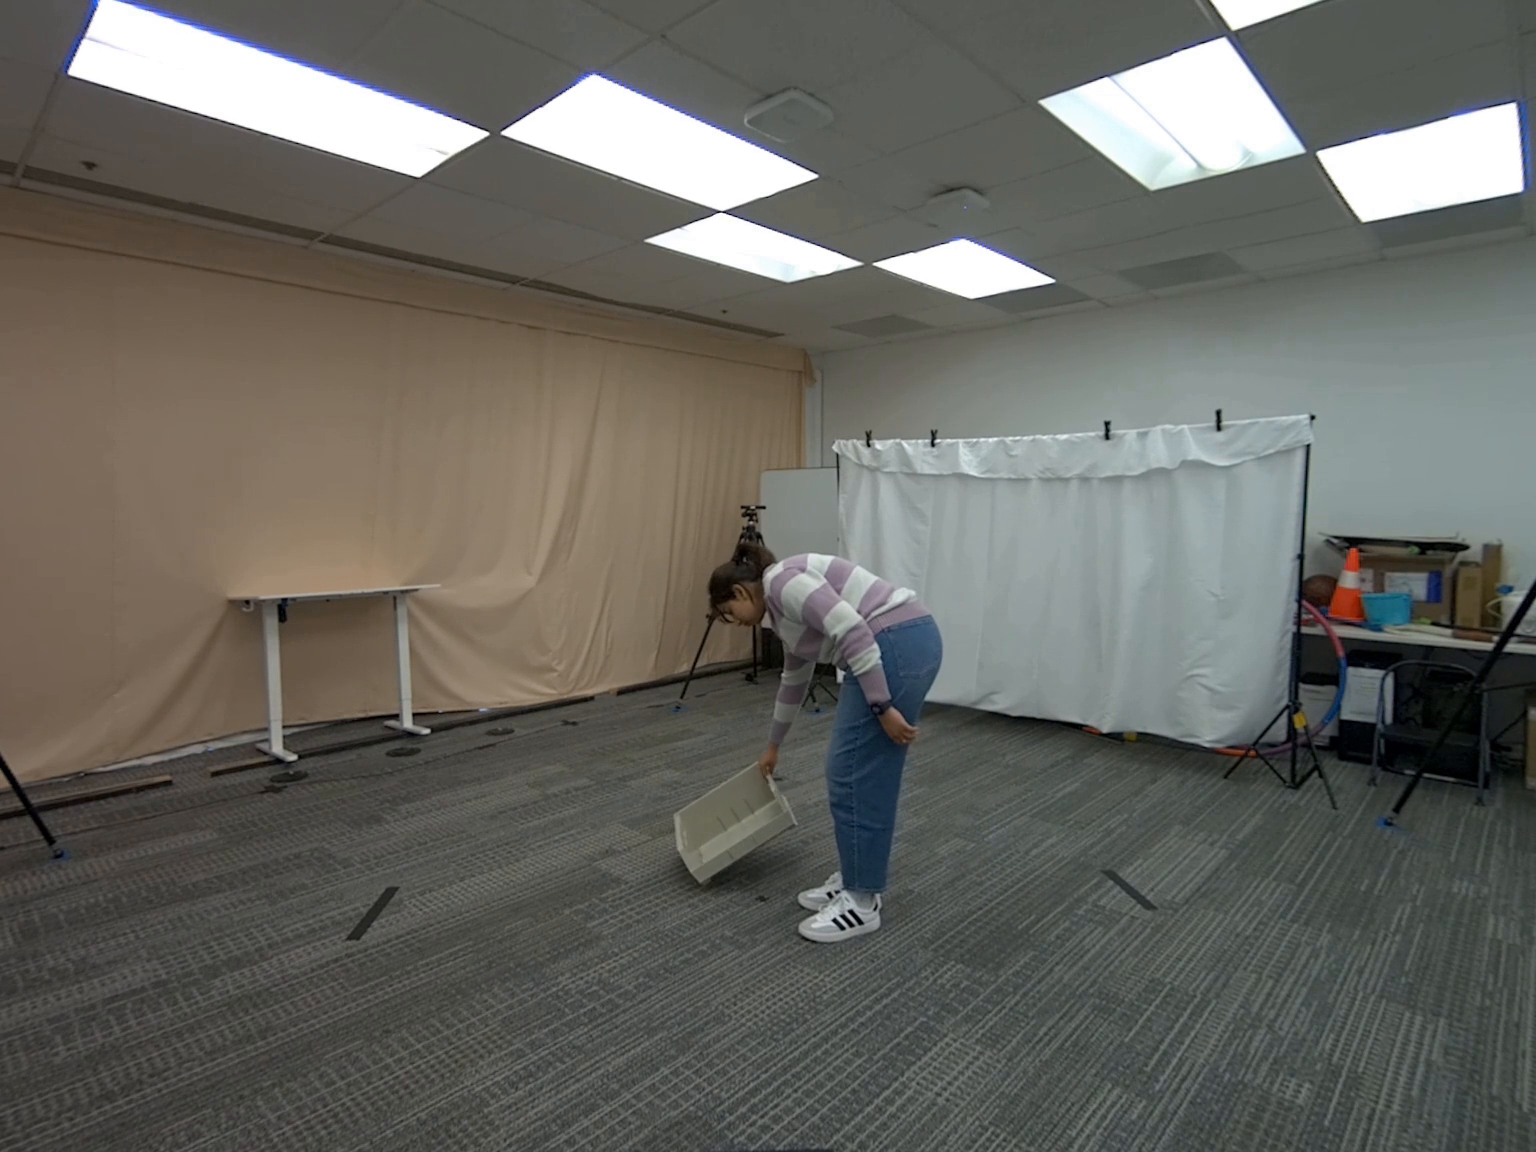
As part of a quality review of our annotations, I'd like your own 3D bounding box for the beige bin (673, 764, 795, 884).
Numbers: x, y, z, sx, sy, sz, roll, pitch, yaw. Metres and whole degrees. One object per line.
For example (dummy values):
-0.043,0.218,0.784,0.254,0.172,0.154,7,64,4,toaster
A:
-0.125,0.939,3.216,0.421,0.188,0.380,-32,7,-4,beige bin
